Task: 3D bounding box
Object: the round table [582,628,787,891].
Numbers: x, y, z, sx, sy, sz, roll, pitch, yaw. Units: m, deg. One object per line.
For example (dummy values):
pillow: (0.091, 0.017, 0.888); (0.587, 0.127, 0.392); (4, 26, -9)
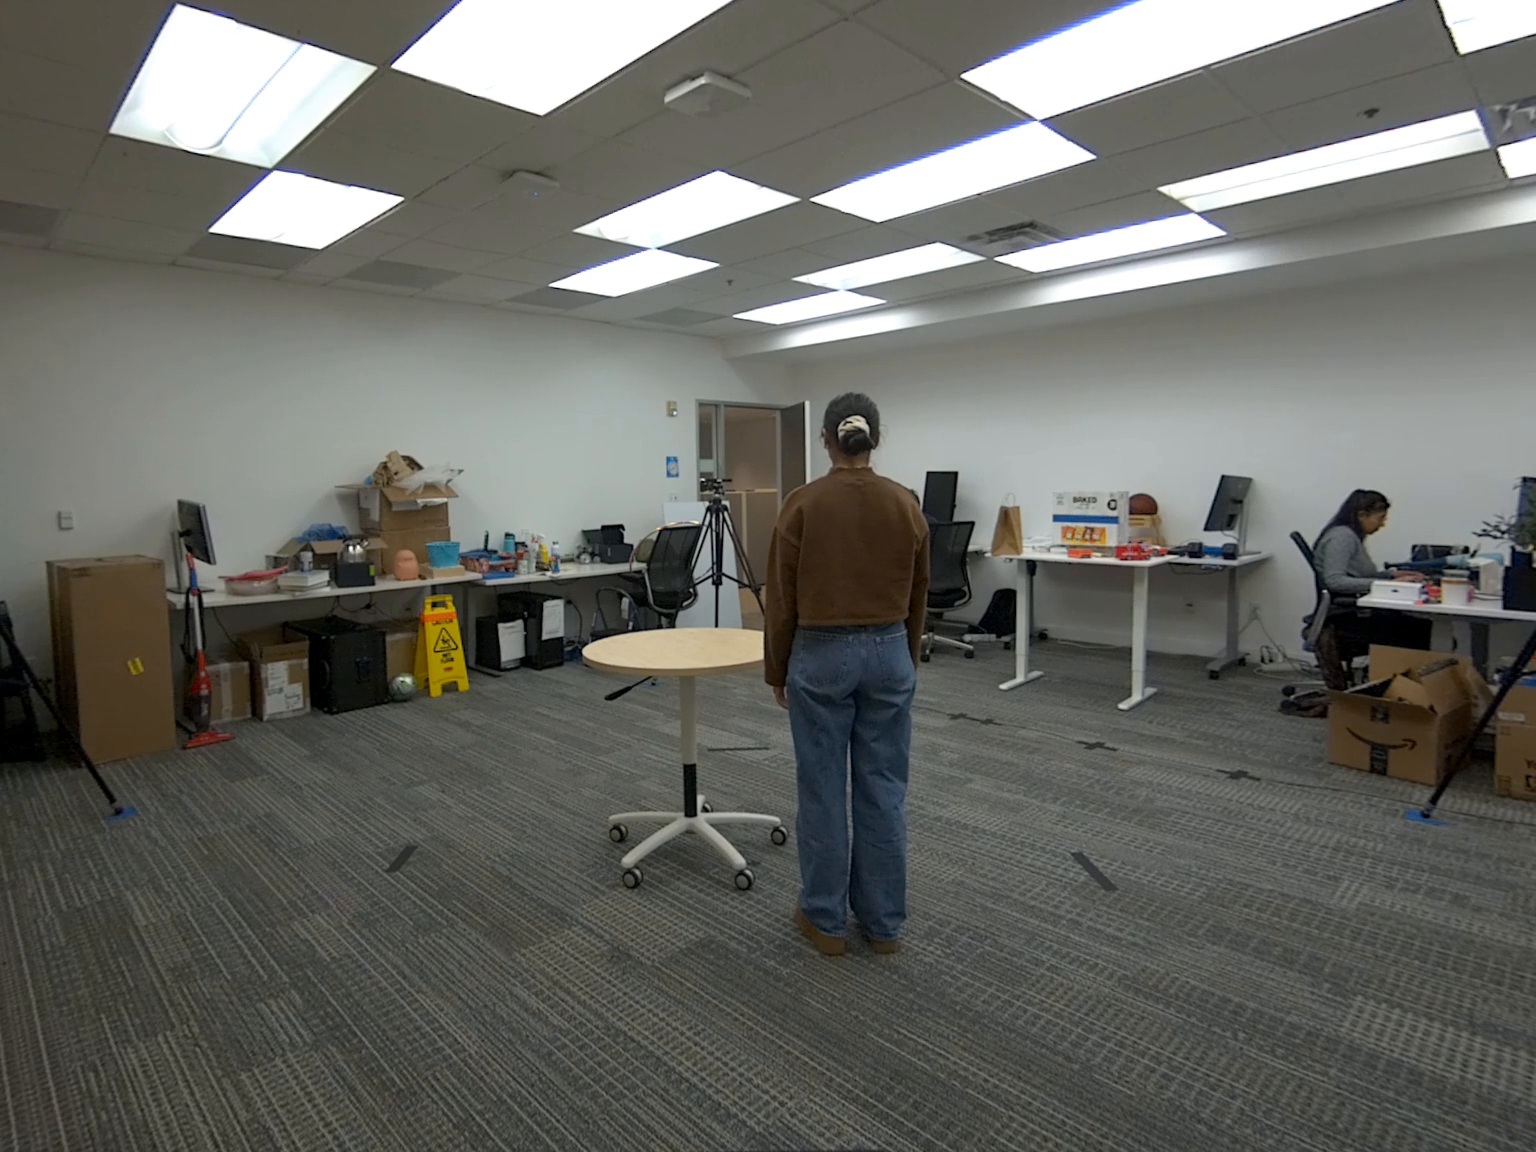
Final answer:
round table: (-0.275, 0.646, 3.188); (0.784, 0.783, 0.789); (-2, 5, -2)
